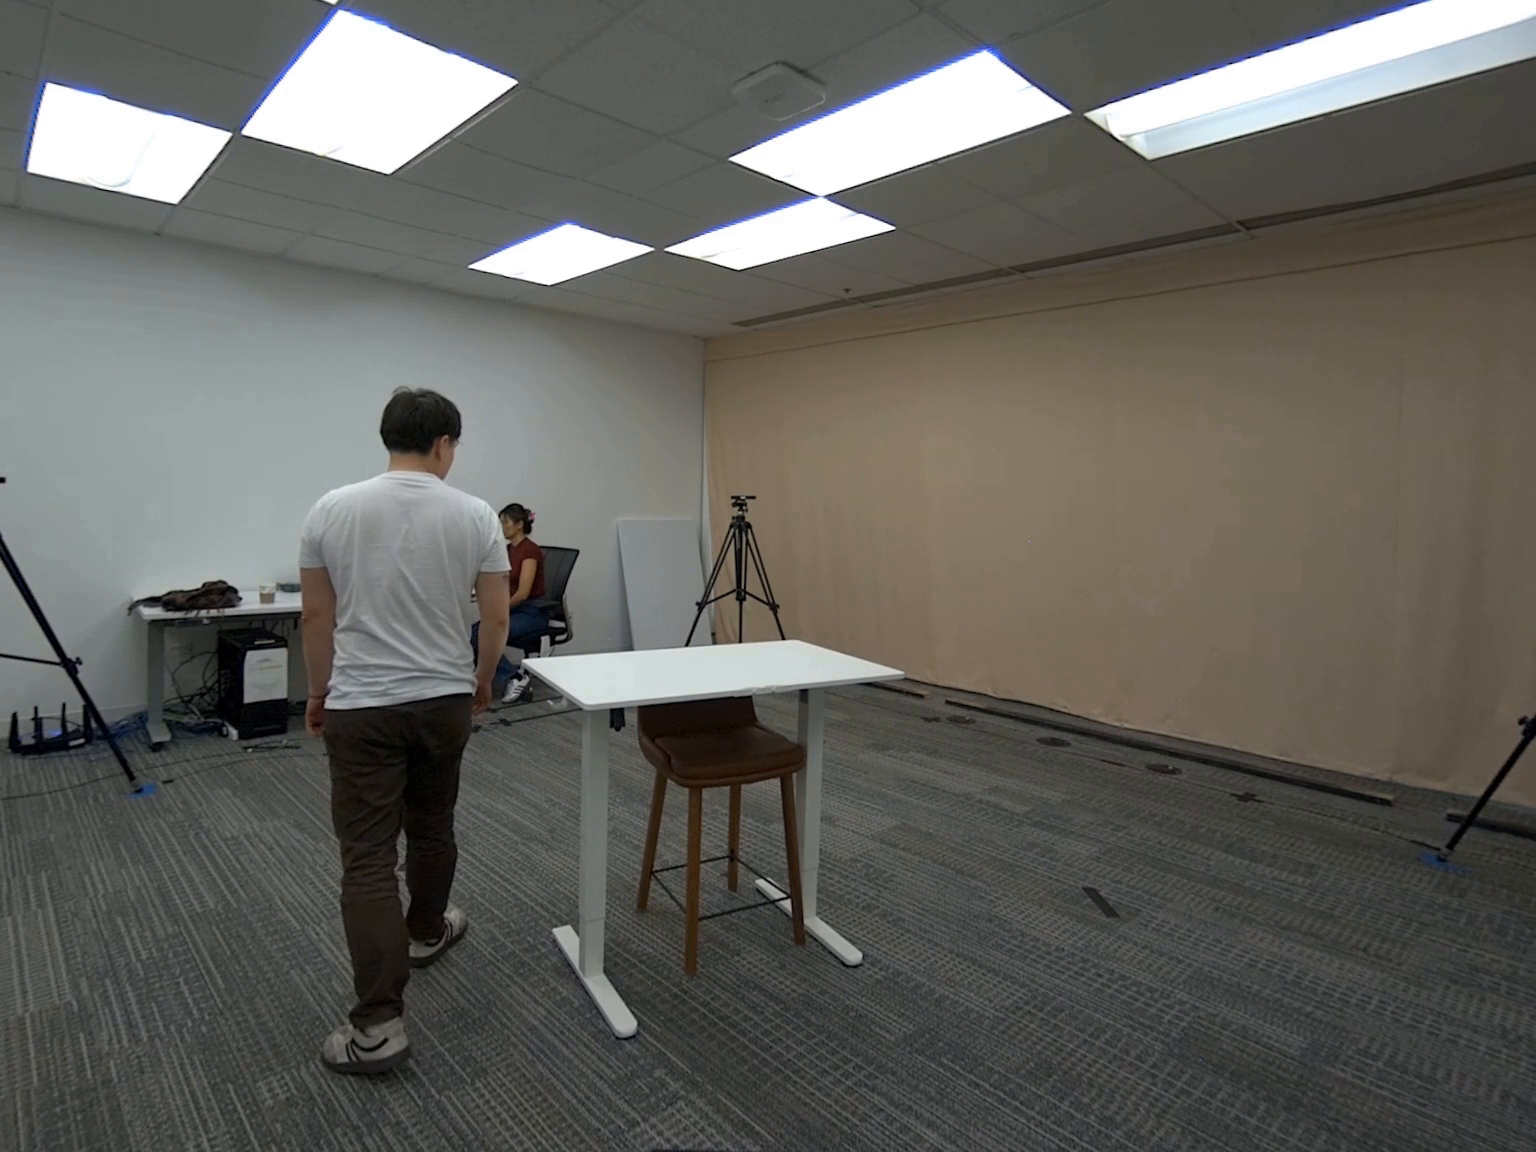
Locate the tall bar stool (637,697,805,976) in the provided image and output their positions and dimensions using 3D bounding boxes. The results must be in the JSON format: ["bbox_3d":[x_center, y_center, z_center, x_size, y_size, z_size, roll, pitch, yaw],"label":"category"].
[{"bbox_3d":[-0.171,0.708,2.706,0.448,0.889,0.477,-1,2,-29],"label":"tall bar stool"}]
